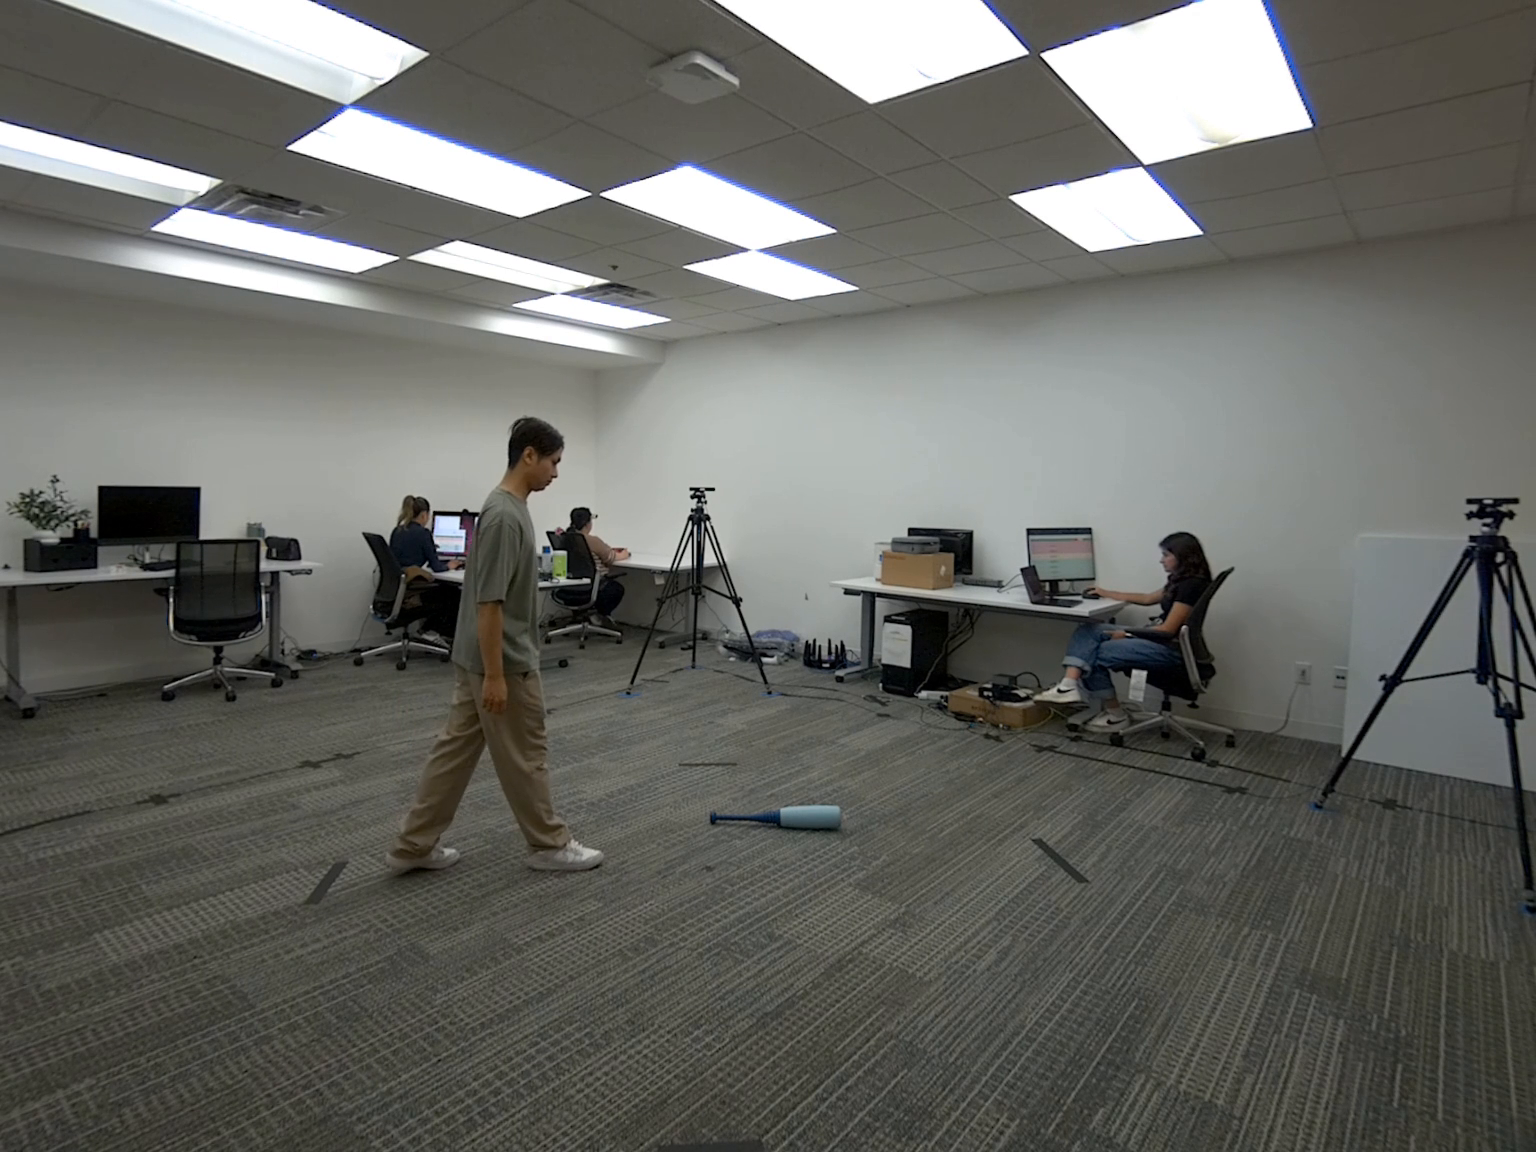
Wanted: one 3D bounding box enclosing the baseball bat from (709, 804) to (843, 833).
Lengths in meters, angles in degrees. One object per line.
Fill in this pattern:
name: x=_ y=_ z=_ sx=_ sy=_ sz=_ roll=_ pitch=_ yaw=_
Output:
baseball bat: x=0.021 y=0.996 z=3.514 sx=0.546 sy=0.089 sz=0.089 roll=-2 pitch=4 yaw=5
